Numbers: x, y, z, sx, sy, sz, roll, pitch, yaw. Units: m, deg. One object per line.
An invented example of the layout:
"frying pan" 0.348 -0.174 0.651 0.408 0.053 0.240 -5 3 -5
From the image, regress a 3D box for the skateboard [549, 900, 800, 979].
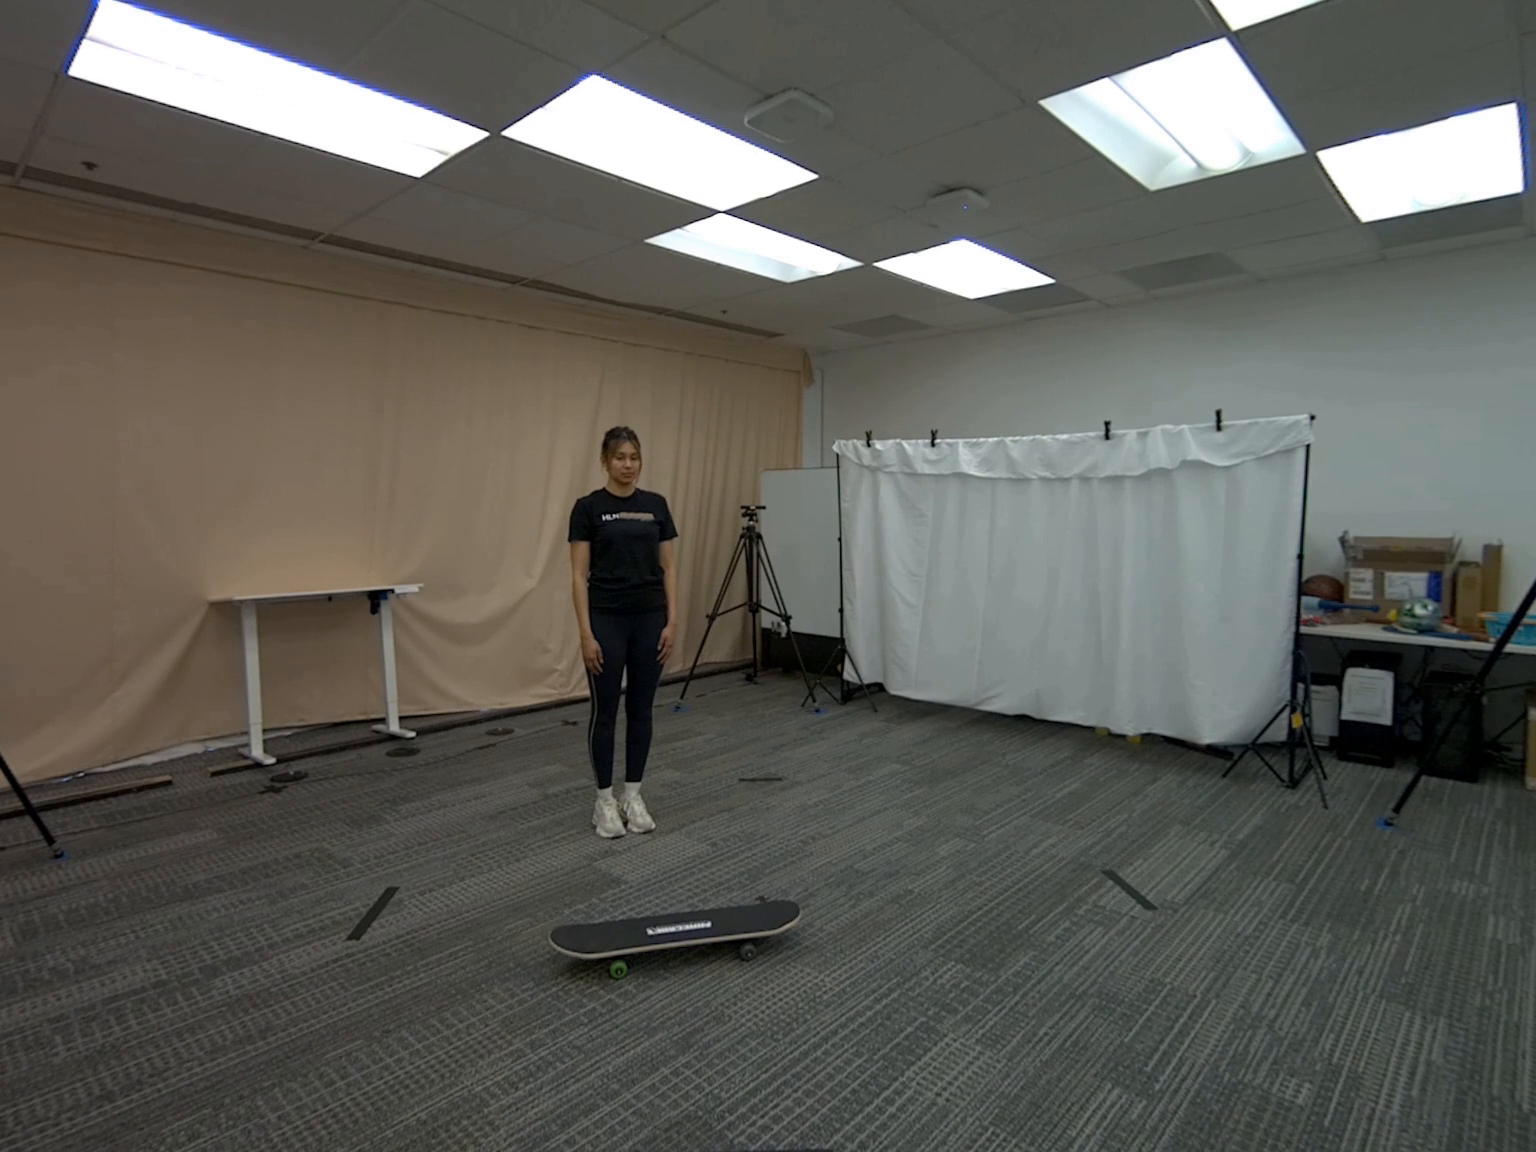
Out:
"skateboard" -0.270 1.121 2.602 0.774 0.110 0.196 -1 4 -13
